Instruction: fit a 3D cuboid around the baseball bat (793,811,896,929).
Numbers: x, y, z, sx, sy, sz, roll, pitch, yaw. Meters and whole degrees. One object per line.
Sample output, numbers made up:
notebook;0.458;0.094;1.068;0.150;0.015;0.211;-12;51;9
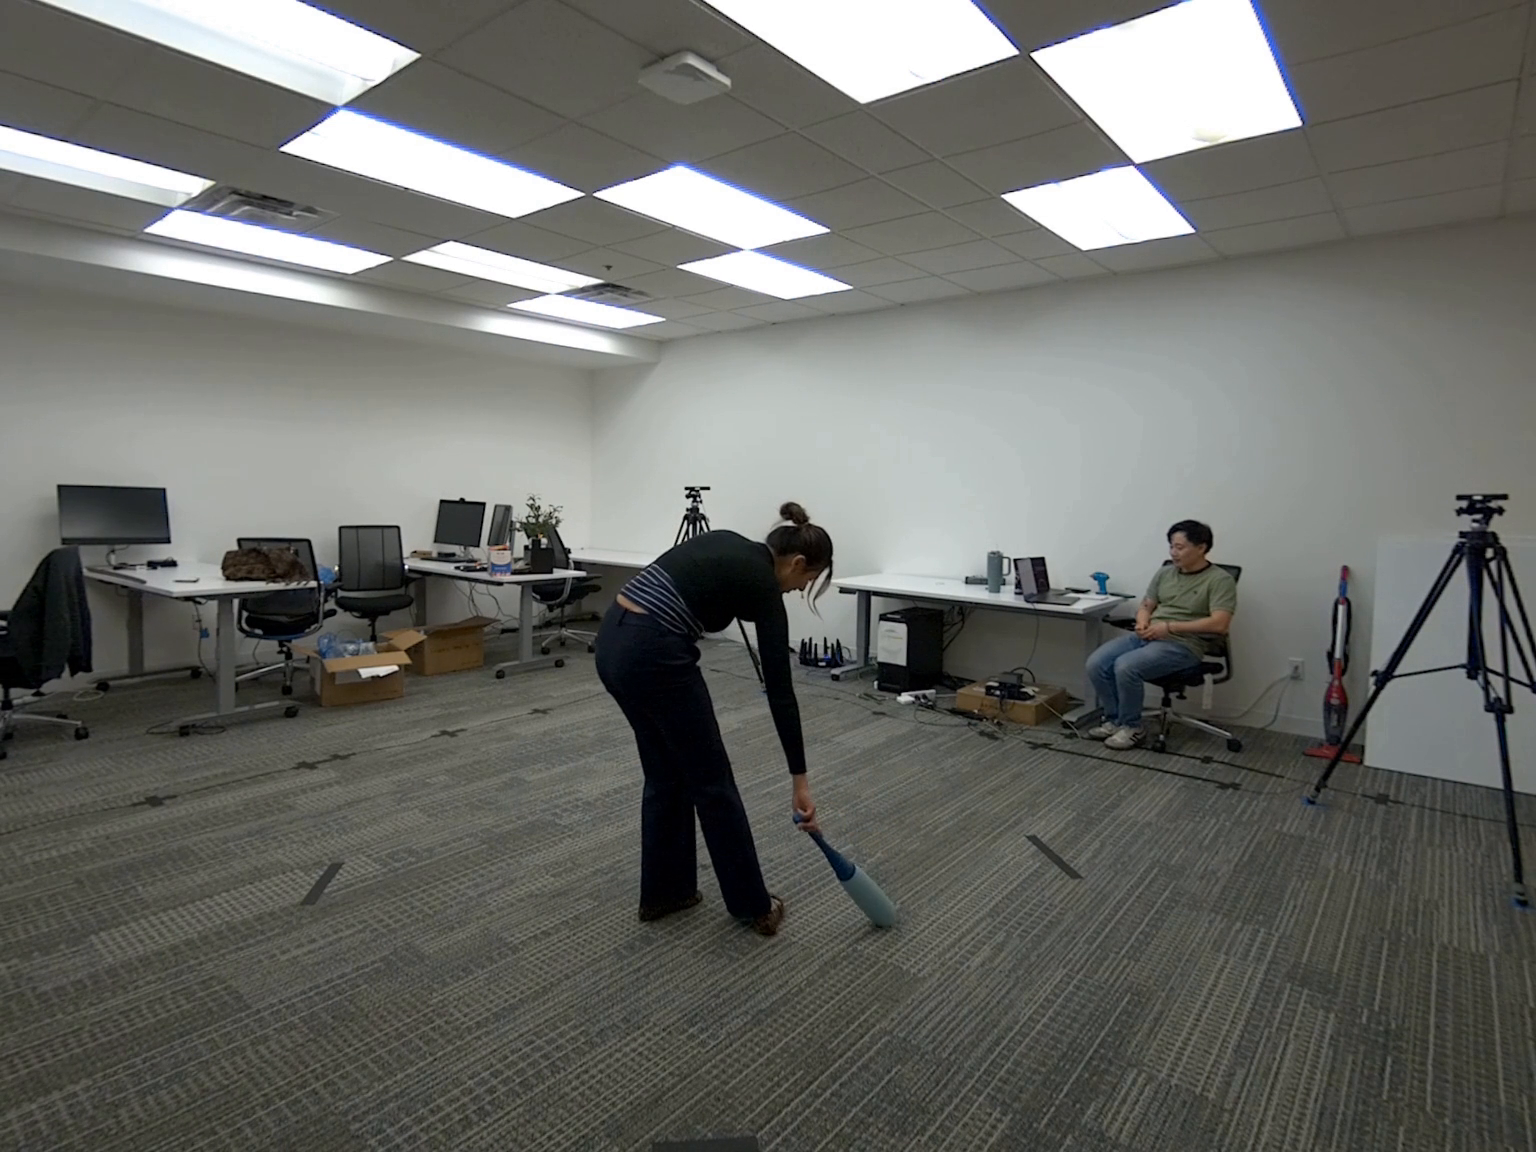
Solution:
baseball bat;0.222;0.906;2.630;0.089;0.526;0.091;-31;25;15
